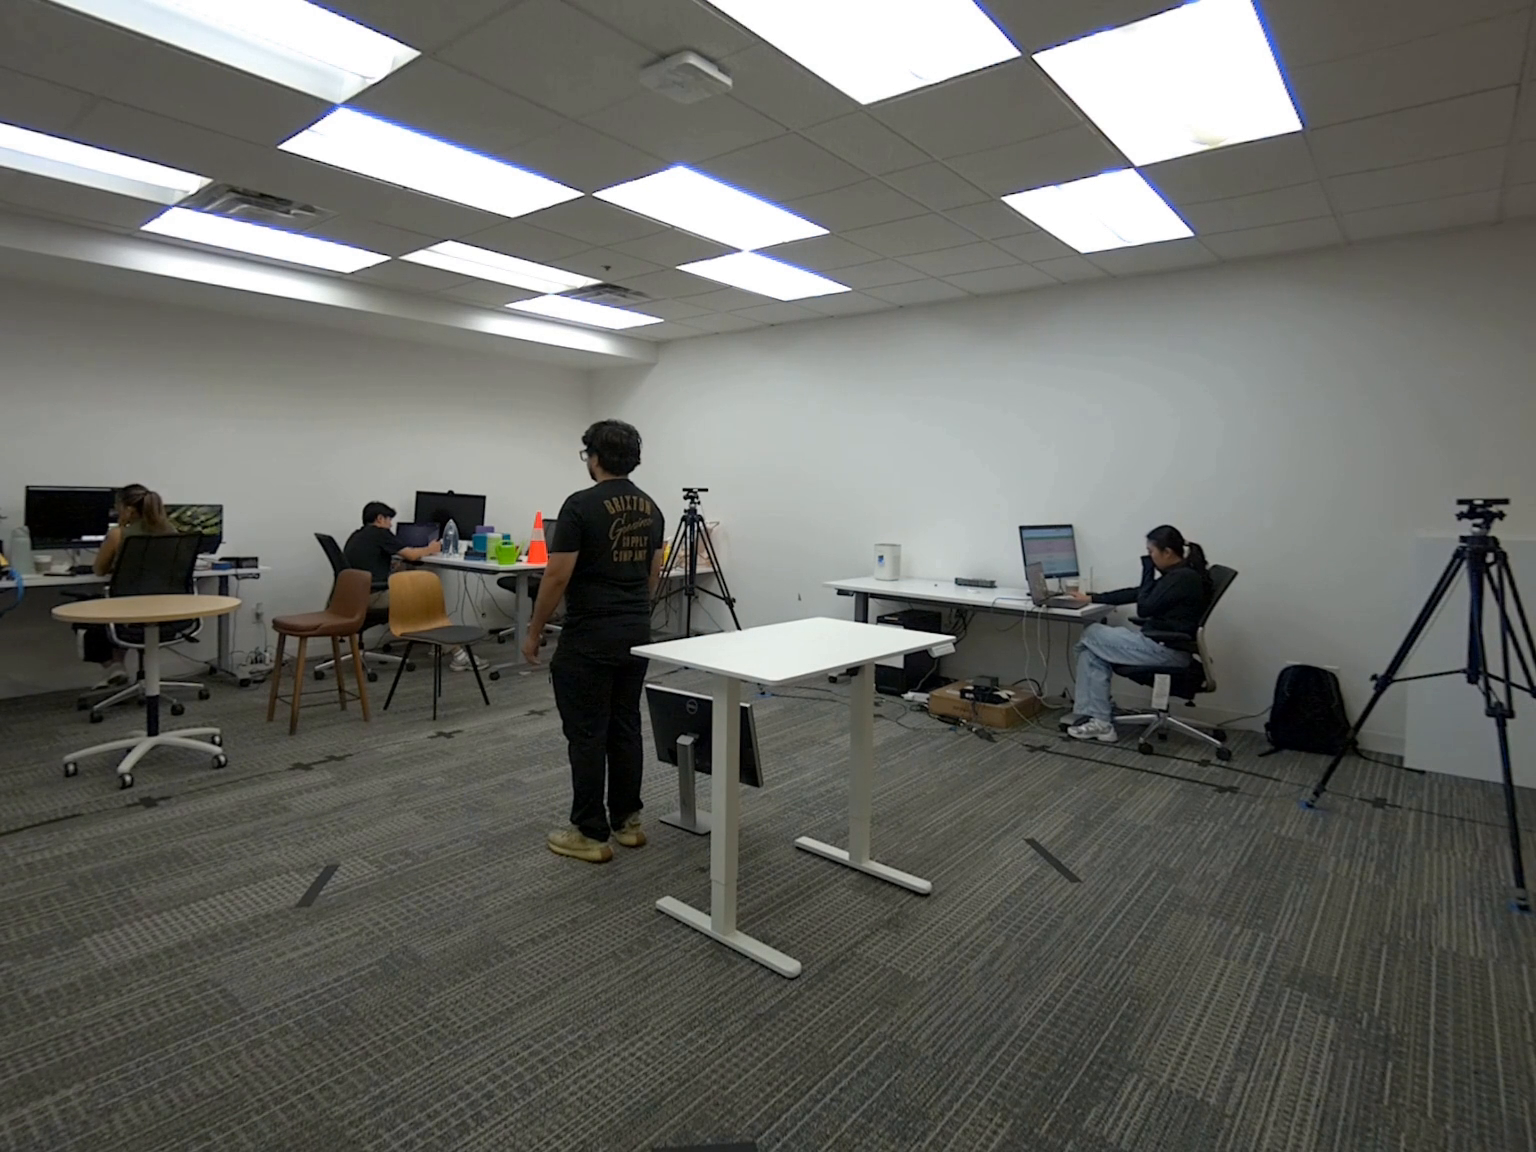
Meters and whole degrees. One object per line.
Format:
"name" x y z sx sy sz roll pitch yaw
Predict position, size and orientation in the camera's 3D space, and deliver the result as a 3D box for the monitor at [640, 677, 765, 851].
"monitor" -0.320 0.761 3.515 0.584 0.550 0.205 4 10 37
